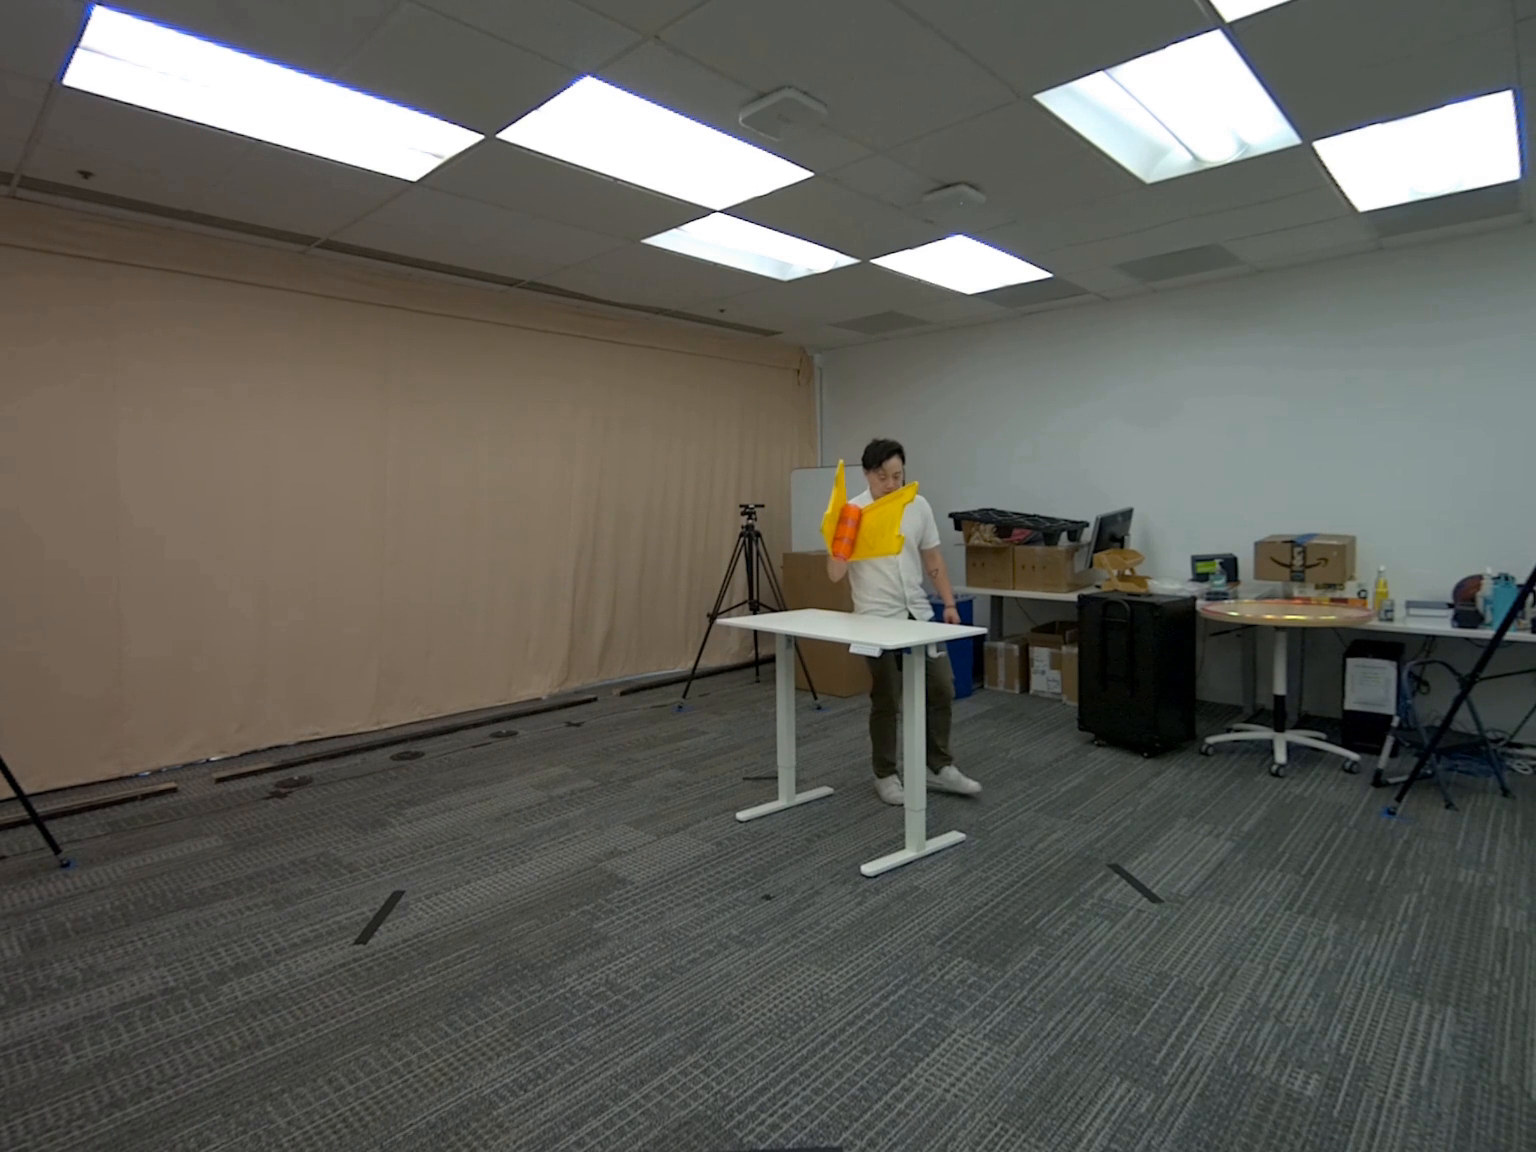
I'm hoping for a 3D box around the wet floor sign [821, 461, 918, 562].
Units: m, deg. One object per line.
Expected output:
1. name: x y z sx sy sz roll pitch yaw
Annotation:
1. wet floor sign: 0.345 -0.201 3.356 0.290 0.283 0.644 16 -10 -2
